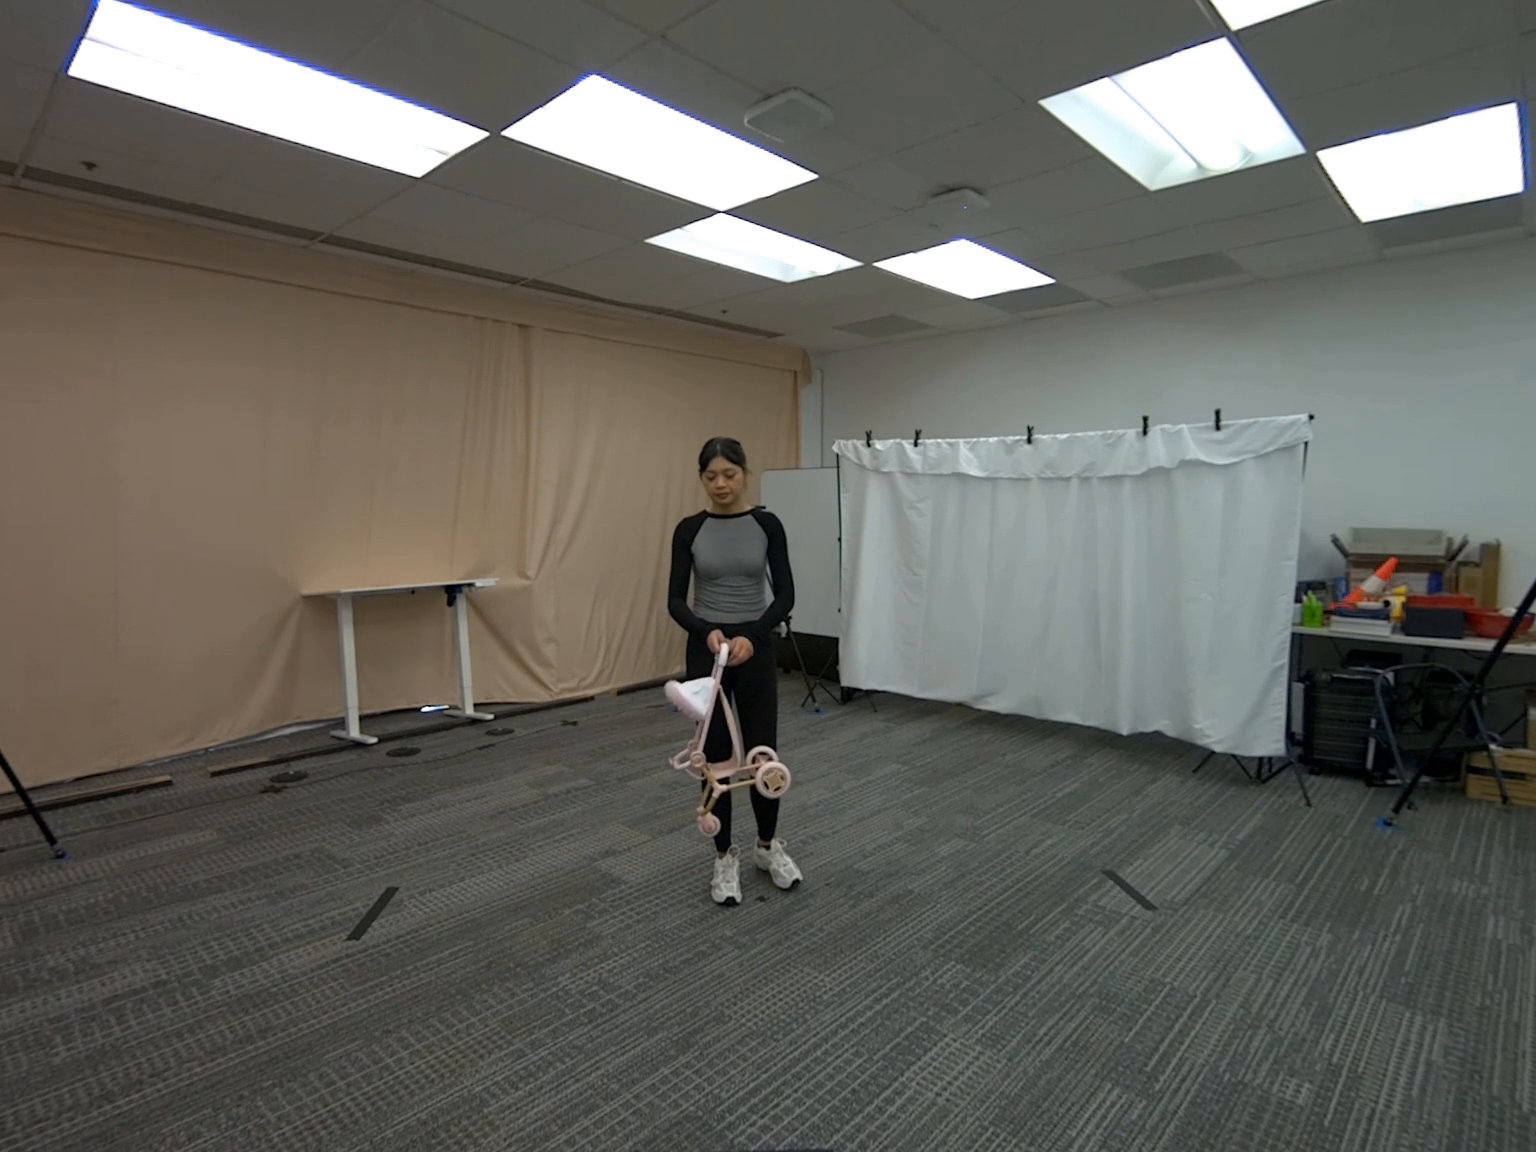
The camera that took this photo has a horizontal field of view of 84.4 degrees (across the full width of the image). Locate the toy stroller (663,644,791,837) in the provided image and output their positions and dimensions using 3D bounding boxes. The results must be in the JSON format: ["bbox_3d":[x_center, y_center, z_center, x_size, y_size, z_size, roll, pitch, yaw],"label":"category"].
[{"bbox_3d":[-0.179,0.525,2.681,0.341,0.535,0.282,-24,1,-2],"label":"toy stroller"}]
